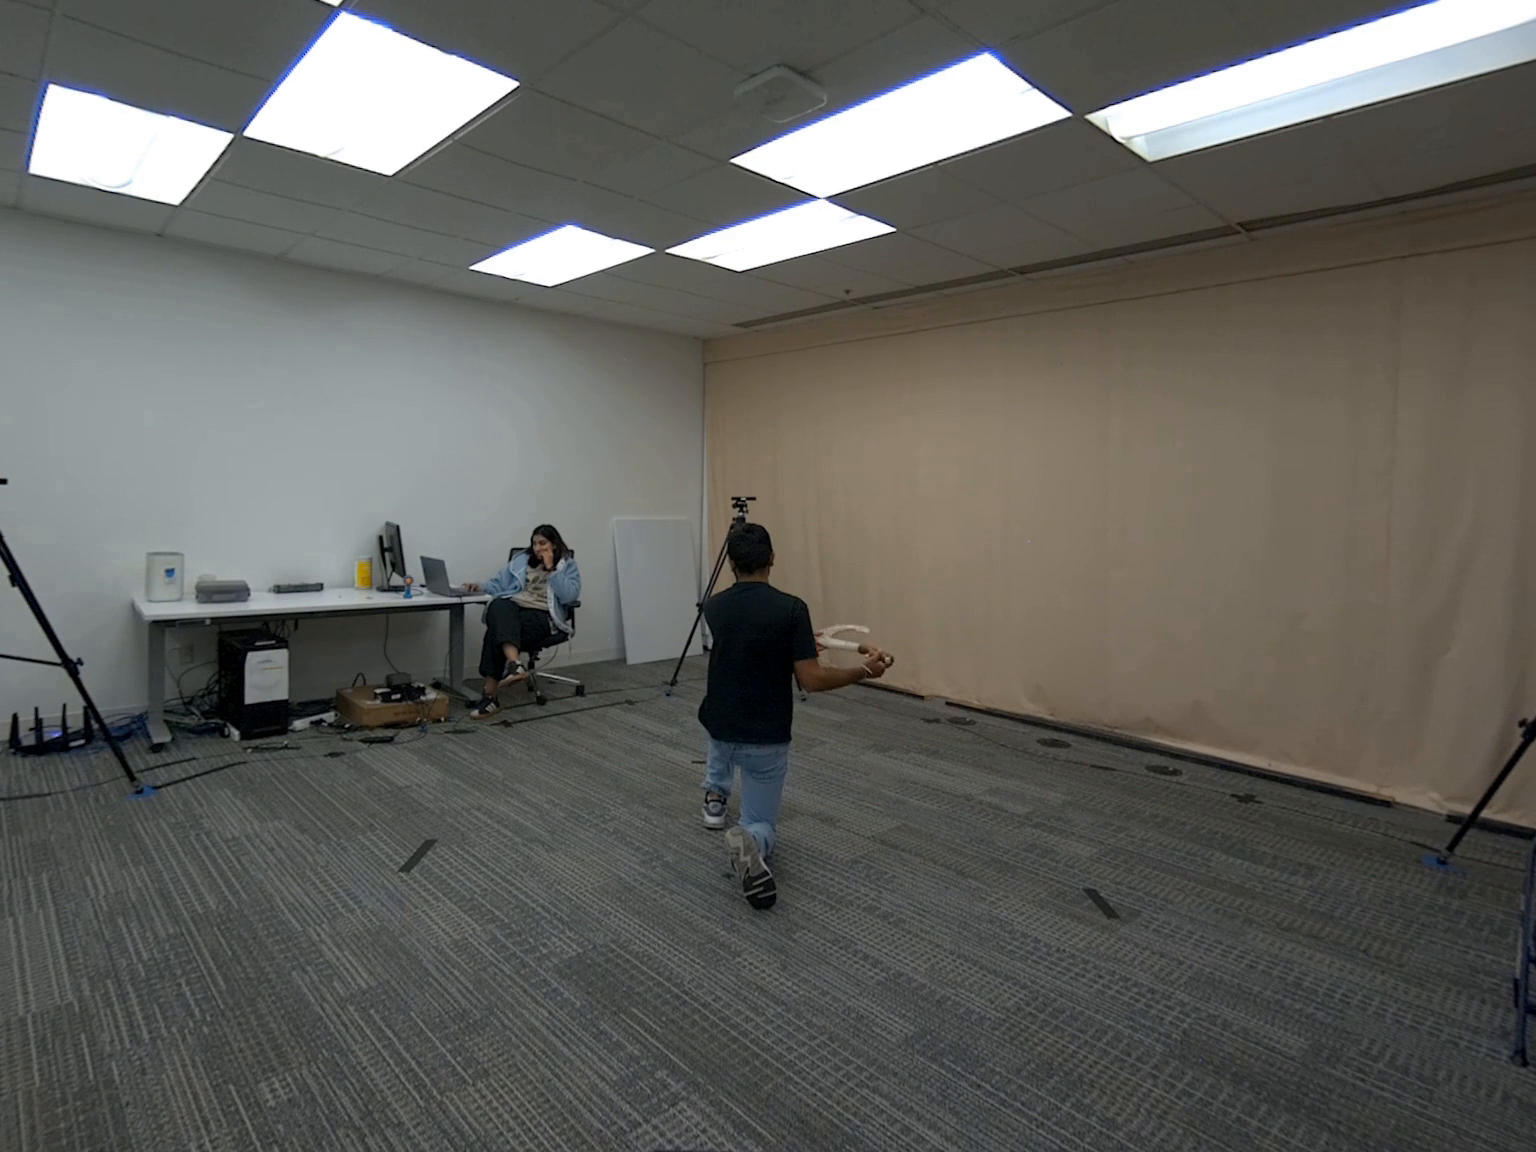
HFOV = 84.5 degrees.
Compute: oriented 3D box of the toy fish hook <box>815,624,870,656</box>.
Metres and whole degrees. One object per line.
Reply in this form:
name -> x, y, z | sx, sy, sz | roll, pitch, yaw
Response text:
toy fish hook -> 0.373, 0.278, 3.572 | 0.222, 0.047, 0.519 | -22, 18, -23
